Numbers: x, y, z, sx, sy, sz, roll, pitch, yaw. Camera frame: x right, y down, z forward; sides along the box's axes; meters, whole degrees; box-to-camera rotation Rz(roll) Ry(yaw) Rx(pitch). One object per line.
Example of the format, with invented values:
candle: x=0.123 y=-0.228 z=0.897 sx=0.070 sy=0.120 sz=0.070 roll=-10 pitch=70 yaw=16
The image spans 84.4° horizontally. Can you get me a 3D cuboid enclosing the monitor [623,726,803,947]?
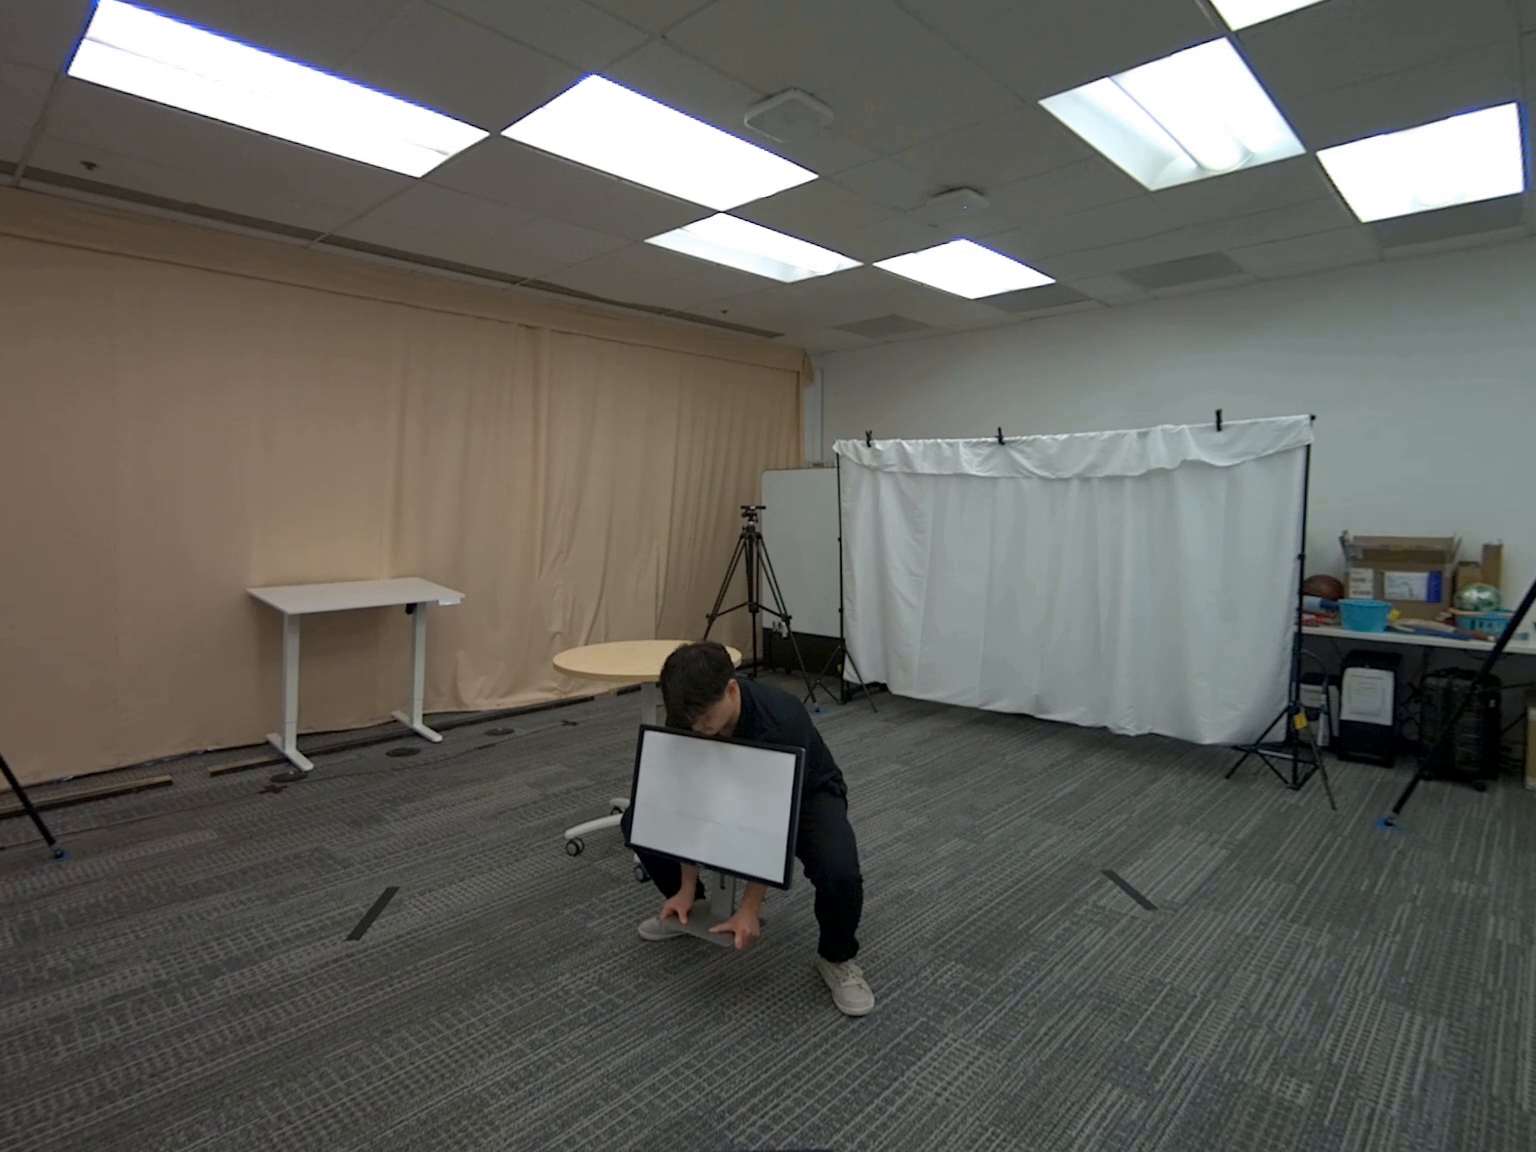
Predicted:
monitor: x=-0.155 y=0.718 z=2.415 sx=0.555 sy=0.522 sz=0.182 roll=2 pitch=1 yaw=32
